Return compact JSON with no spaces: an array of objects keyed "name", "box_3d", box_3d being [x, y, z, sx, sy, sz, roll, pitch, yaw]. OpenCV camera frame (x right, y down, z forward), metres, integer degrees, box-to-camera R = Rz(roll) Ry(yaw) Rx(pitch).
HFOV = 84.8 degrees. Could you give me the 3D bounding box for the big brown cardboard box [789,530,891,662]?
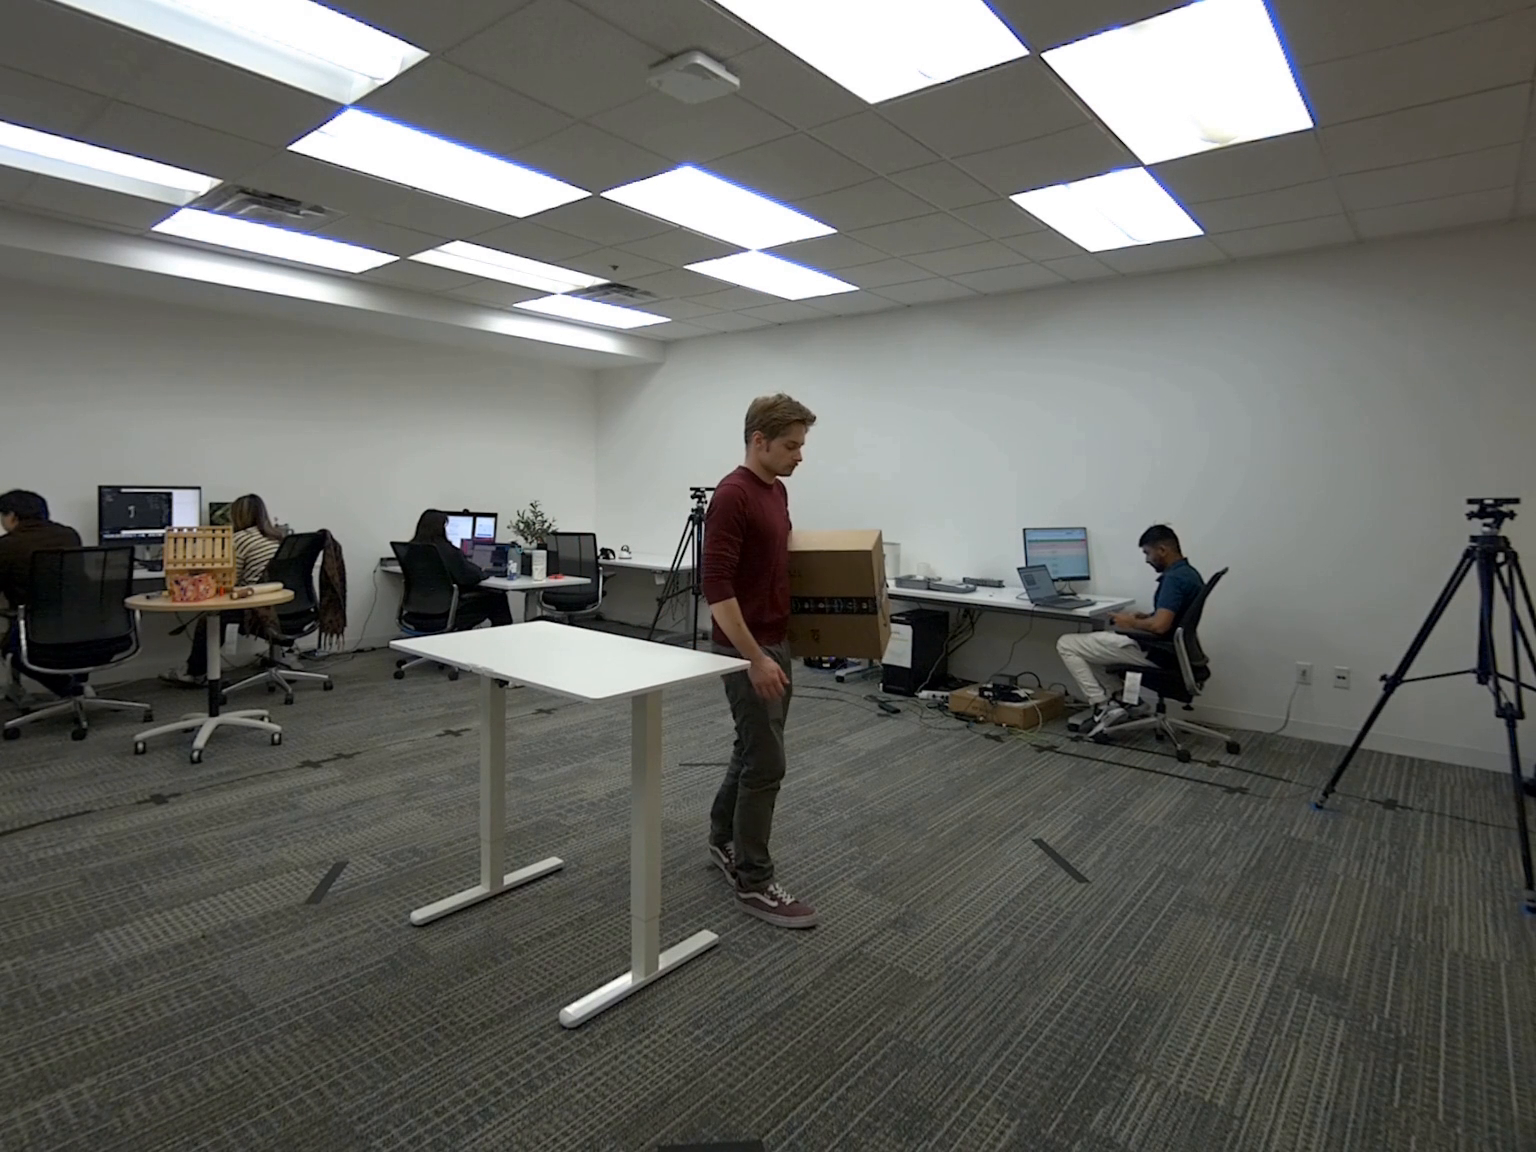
[{"name":"big brown cardboard box","box_3d":[0.130,0.064,3.117,0.602,0.409,0.232,1,21,22]}]
